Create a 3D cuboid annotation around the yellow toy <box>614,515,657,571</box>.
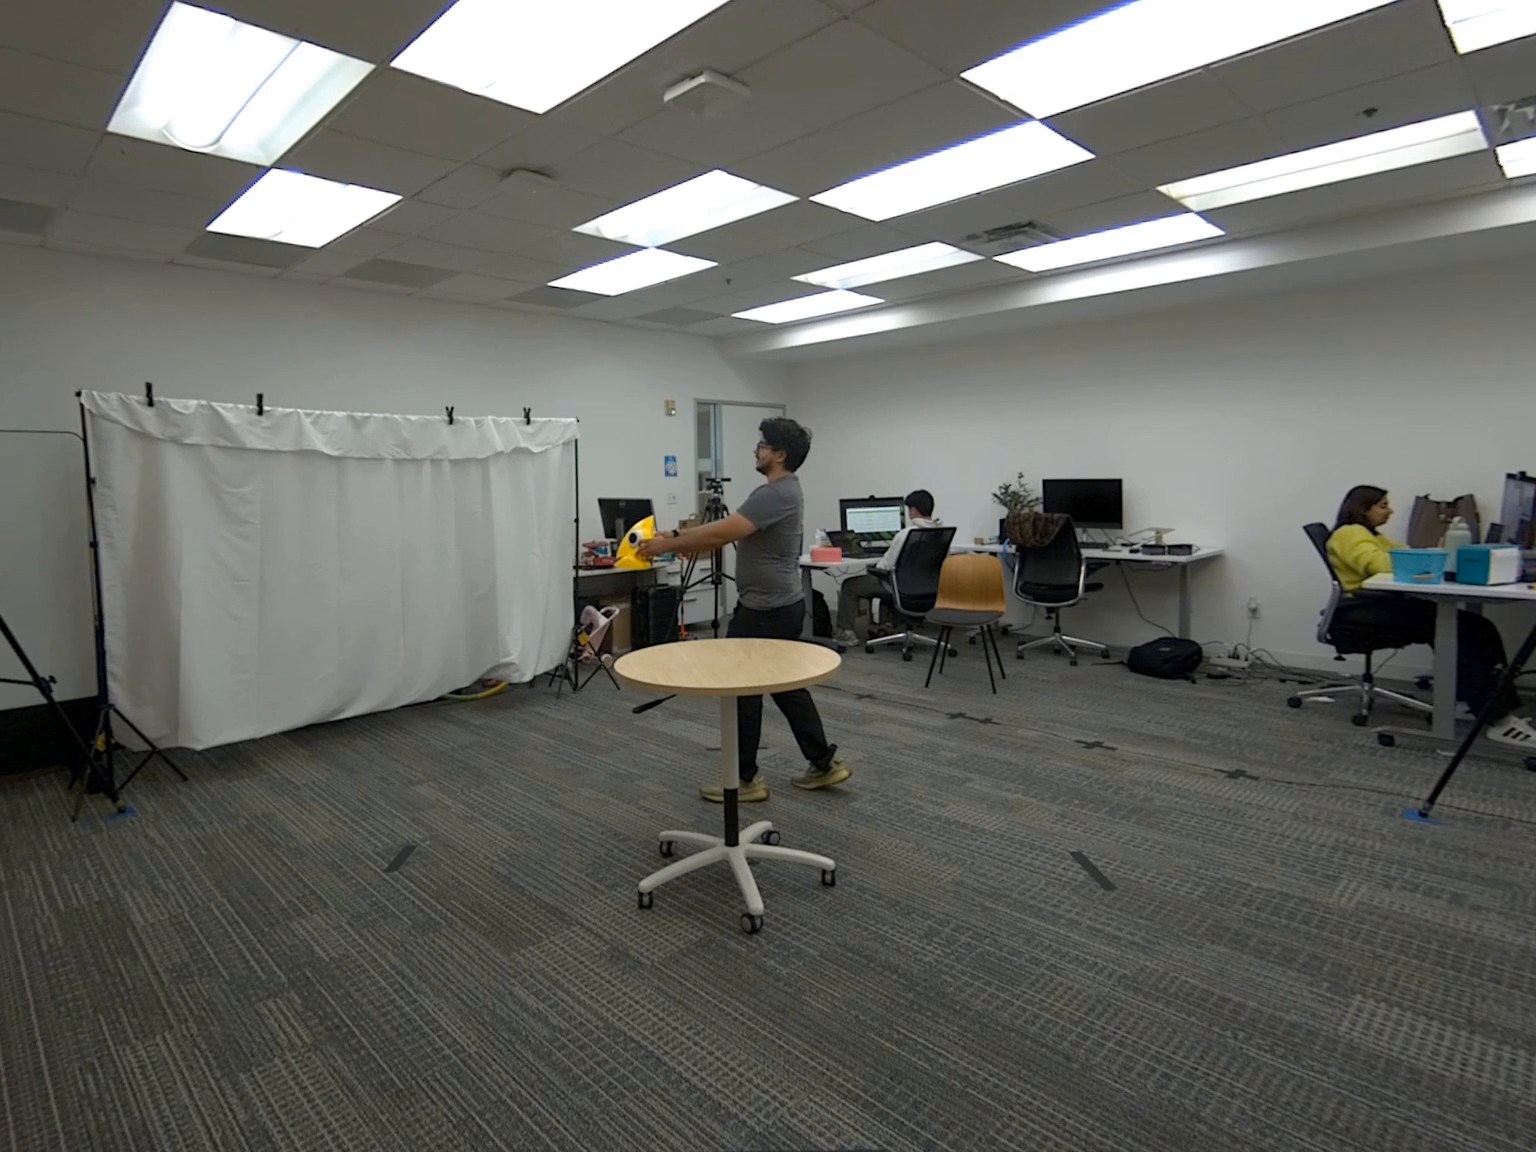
[{"bbox_3d":[-0.575,-0.163,3.818,0.194,0.229,0.205,5,8,4],"label":"yellow toy"}]
